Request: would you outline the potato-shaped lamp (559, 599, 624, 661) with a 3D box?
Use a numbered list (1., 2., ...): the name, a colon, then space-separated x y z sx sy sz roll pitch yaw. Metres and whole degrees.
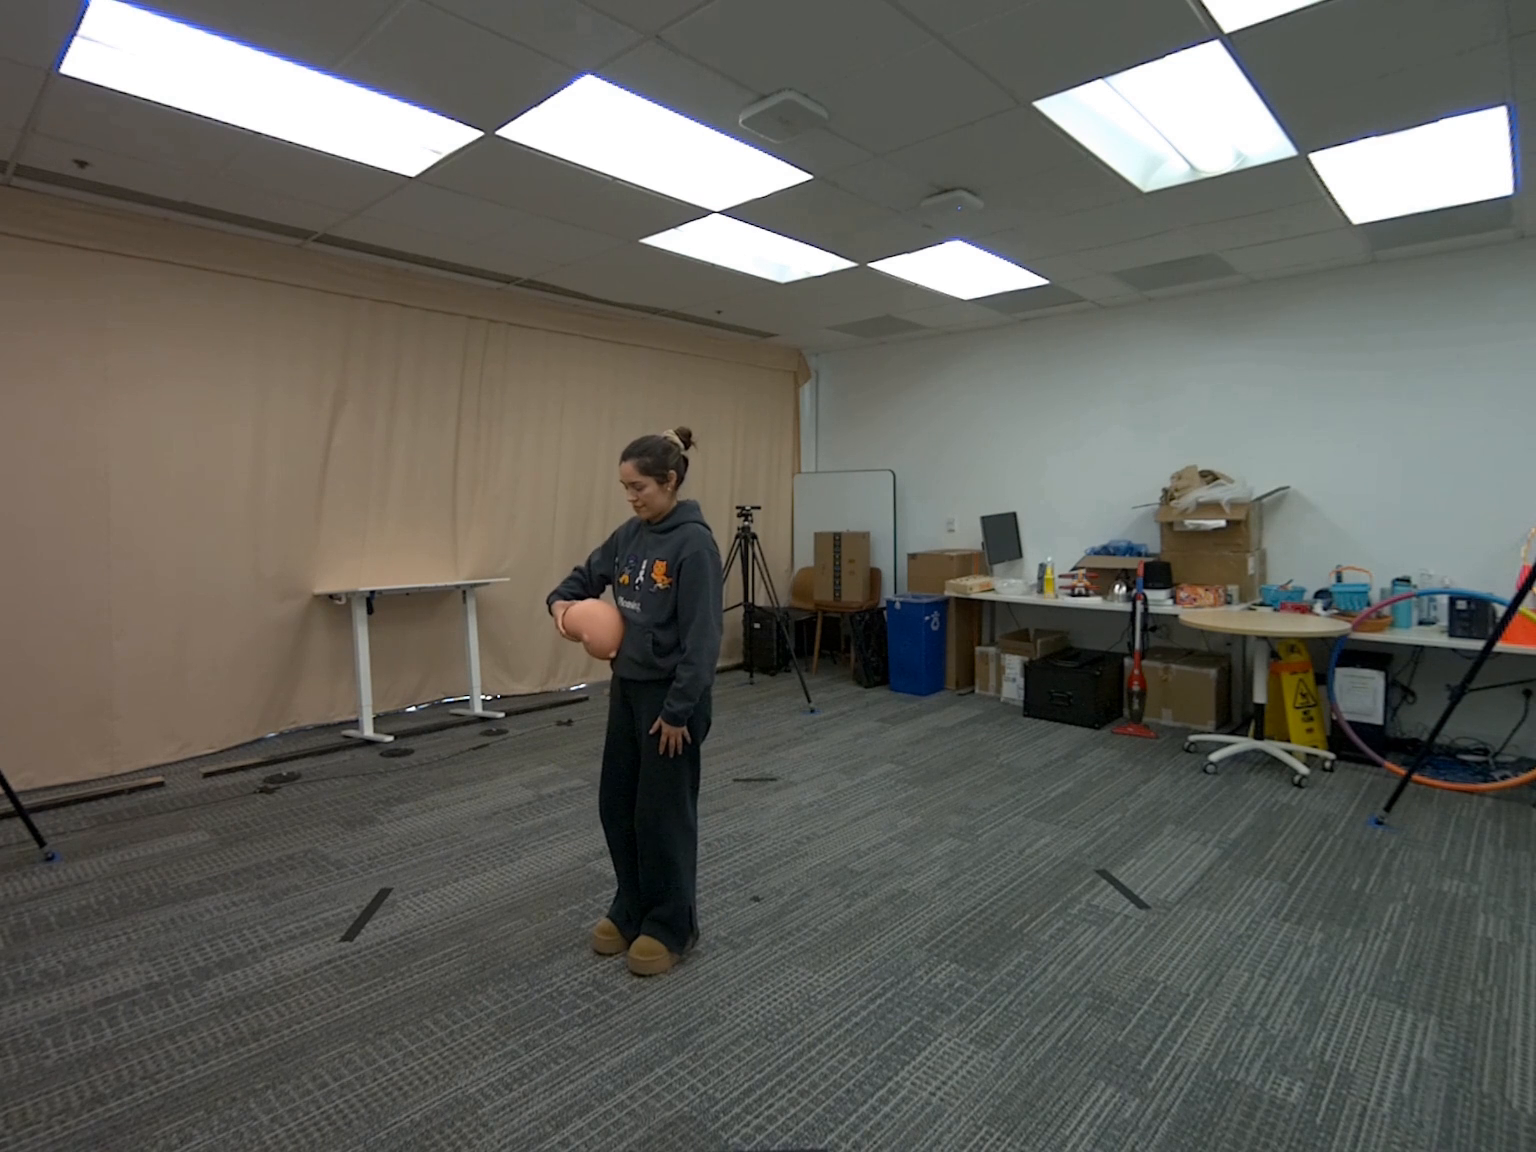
1. potato-shaped lamp: -0.534 0.165 2.617 0.197 0.172 0.165 24 -15 -6
